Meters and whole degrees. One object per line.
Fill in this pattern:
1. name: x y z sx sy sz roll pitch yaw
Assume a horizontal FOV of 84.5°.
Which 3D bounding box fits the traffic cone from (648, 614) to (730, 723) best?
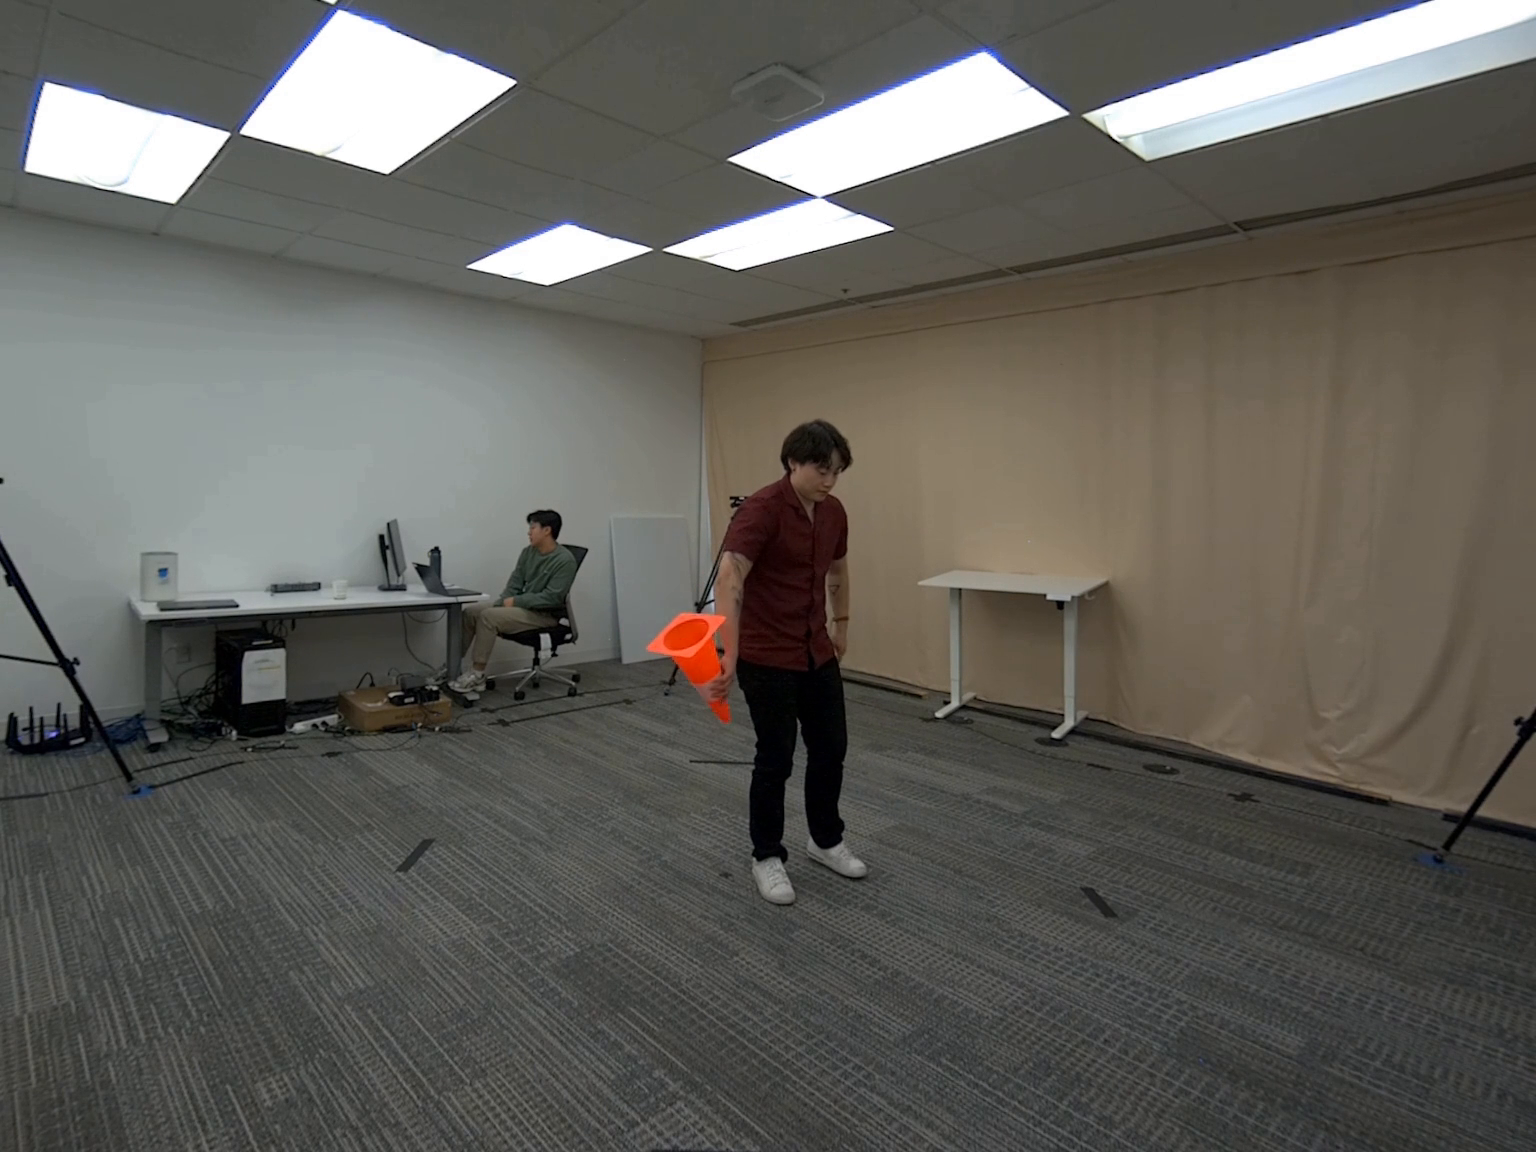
1. traffic cone: -0.200 0.340 2.724 0.208 0.375 0.205 3 36 39
